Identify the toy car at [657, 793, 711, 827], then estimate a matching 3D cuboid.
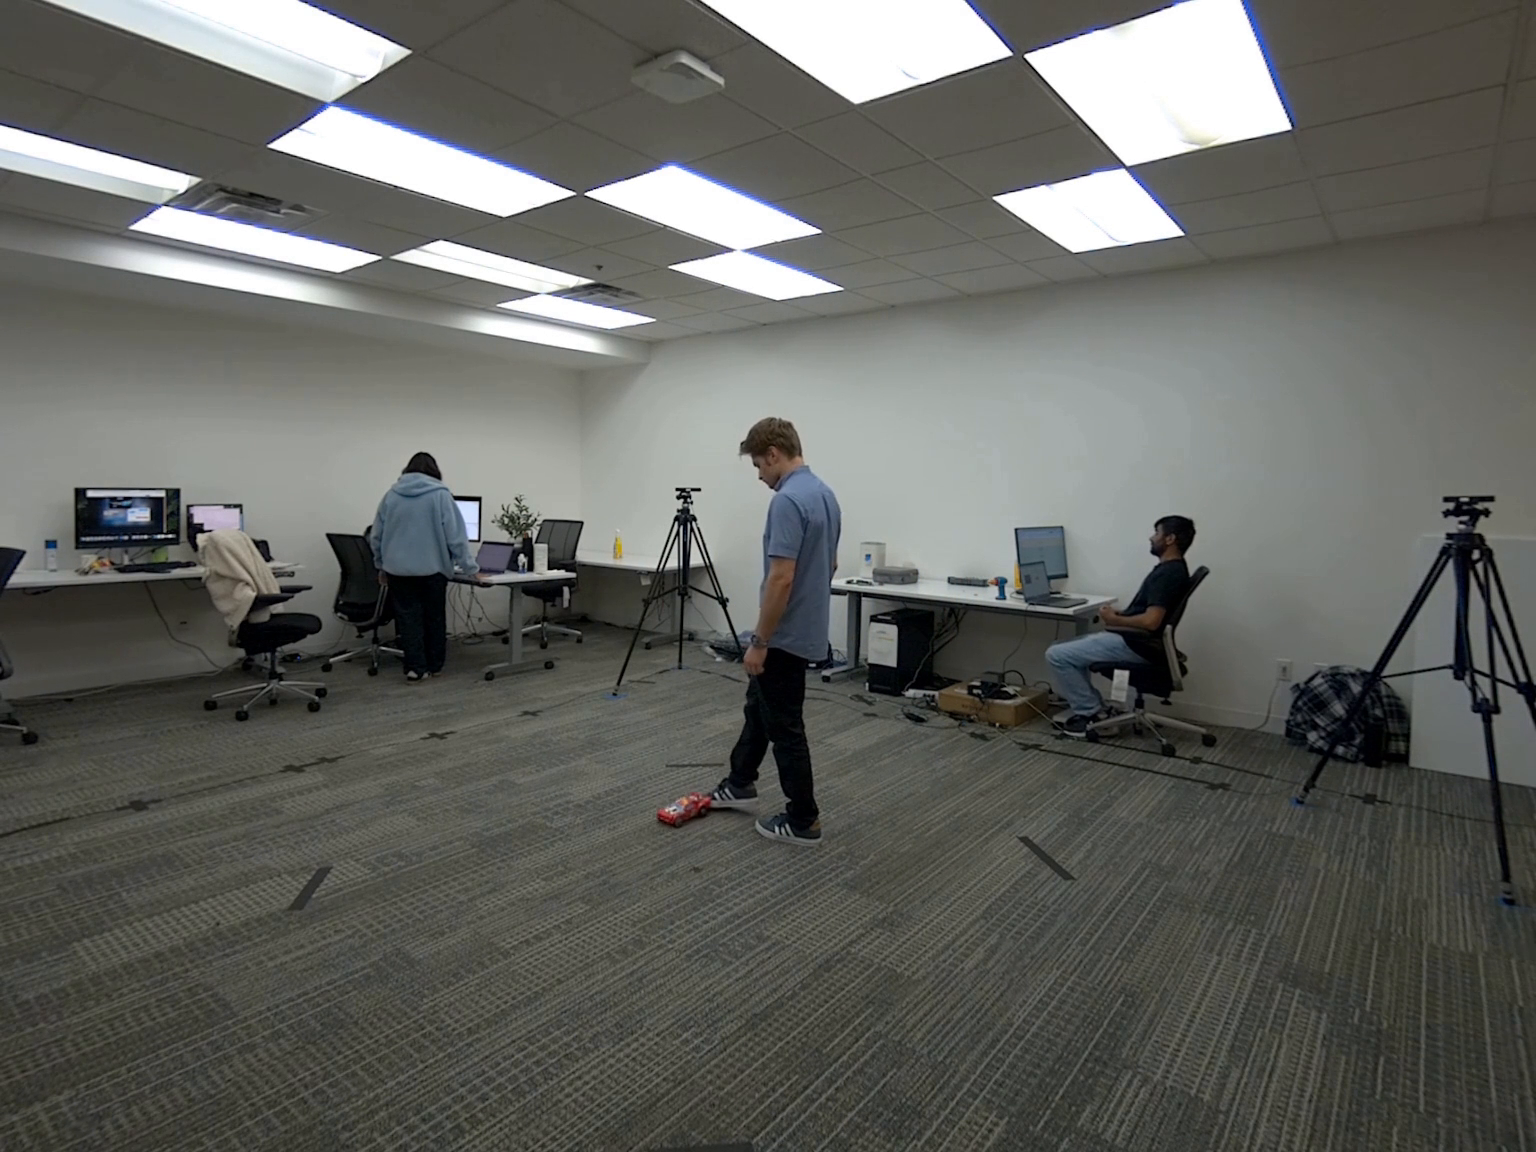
[{"bbox_3d":[-0.358,0.988,3.600,0.135,0.082,0.249,4,17,40],"label":"toy car"}]
